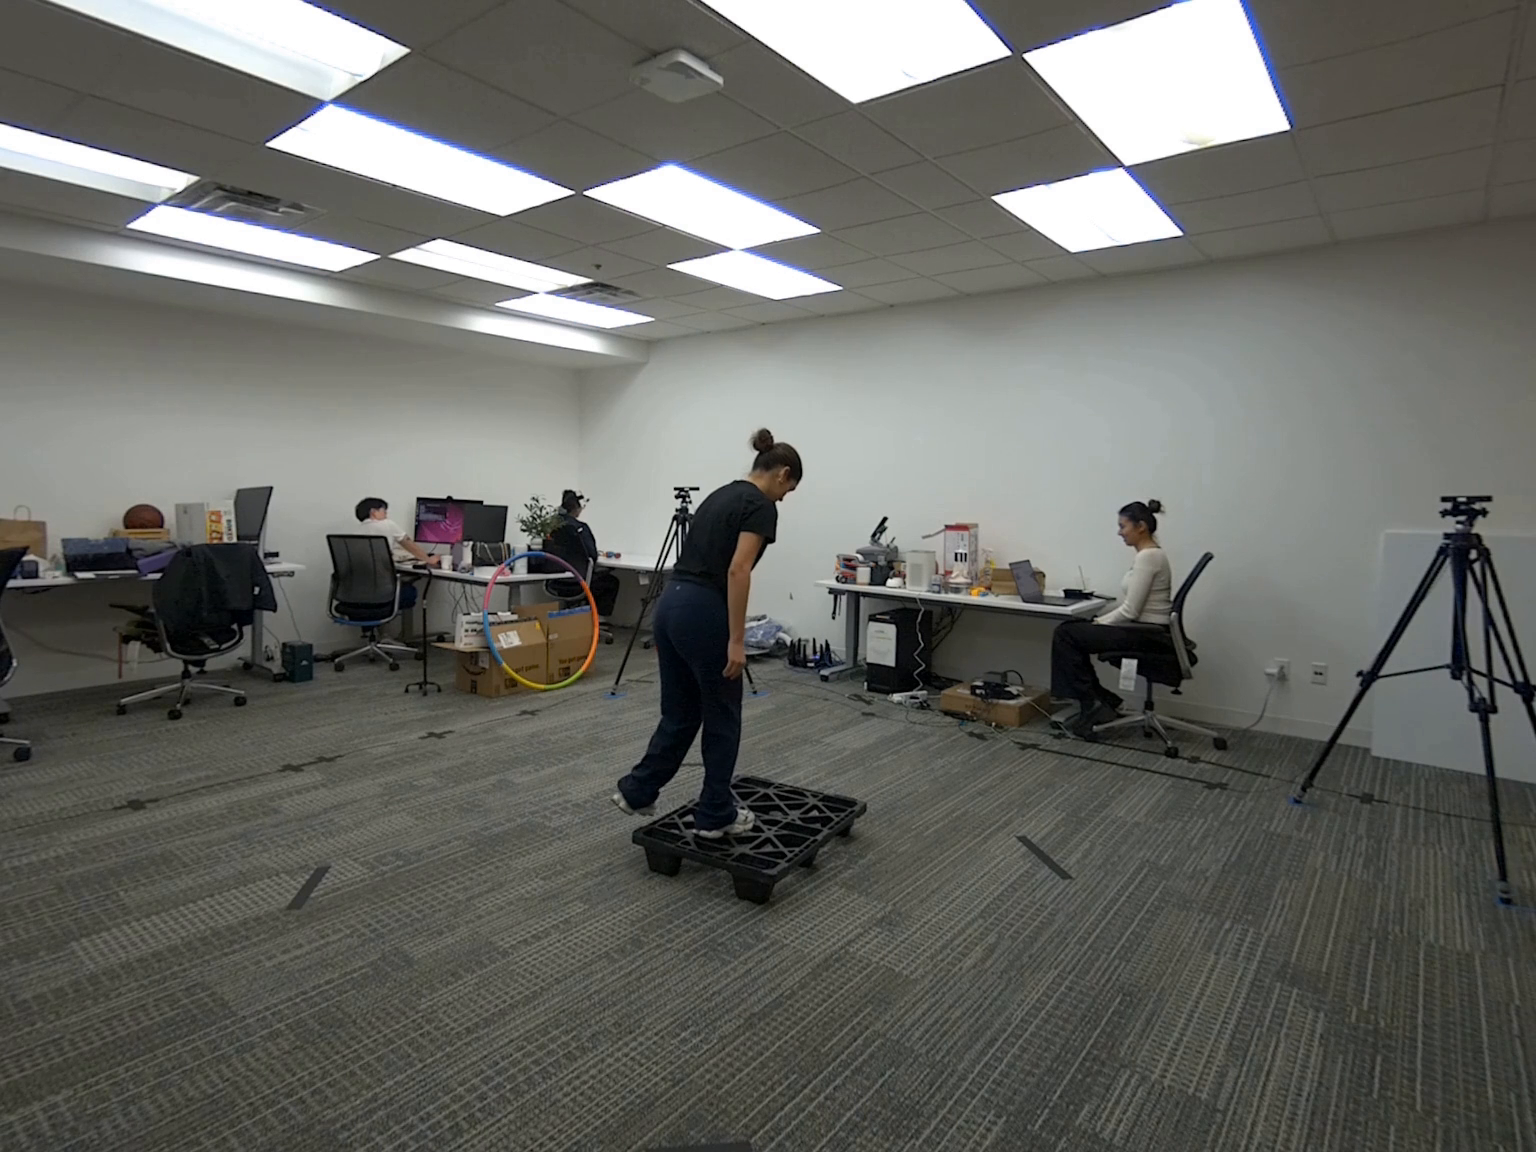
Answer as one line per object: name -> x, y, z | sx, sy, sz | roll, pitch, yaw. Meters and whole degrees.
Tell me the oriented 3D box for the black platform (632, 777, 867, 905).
black platform -> -0.037, 0.985, 3.275 | 0.623, 0.143, 0.785 | 4, 6, 31
